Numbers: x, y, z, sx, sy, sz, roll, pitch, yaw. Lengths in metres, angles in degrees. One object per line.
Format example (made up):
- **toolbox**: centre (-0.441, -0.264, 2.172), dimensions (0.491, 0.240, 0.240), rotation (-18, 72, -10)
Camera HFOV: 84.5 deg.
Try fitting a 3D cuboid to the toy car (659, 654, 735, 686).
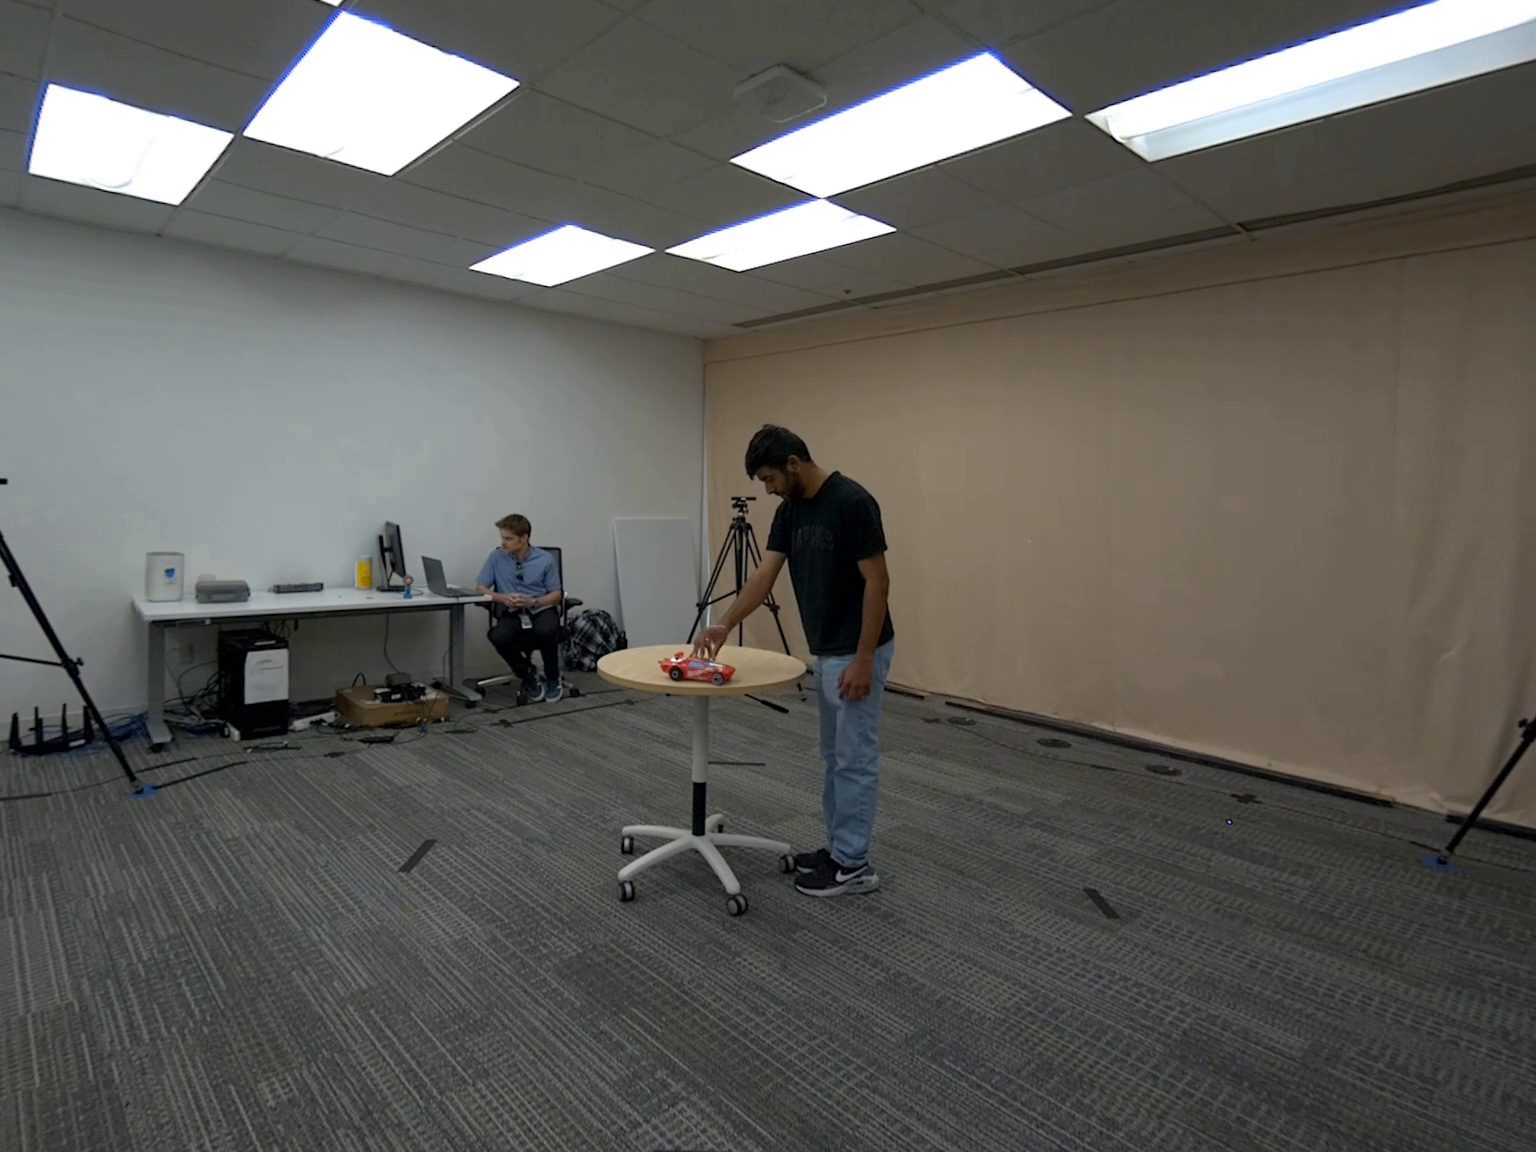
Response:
- **toy car**: centre (-0.246, 0.316, 2.826), dimensions (0.258, 0.083, 0.129), rotation (14, 9, 16)
